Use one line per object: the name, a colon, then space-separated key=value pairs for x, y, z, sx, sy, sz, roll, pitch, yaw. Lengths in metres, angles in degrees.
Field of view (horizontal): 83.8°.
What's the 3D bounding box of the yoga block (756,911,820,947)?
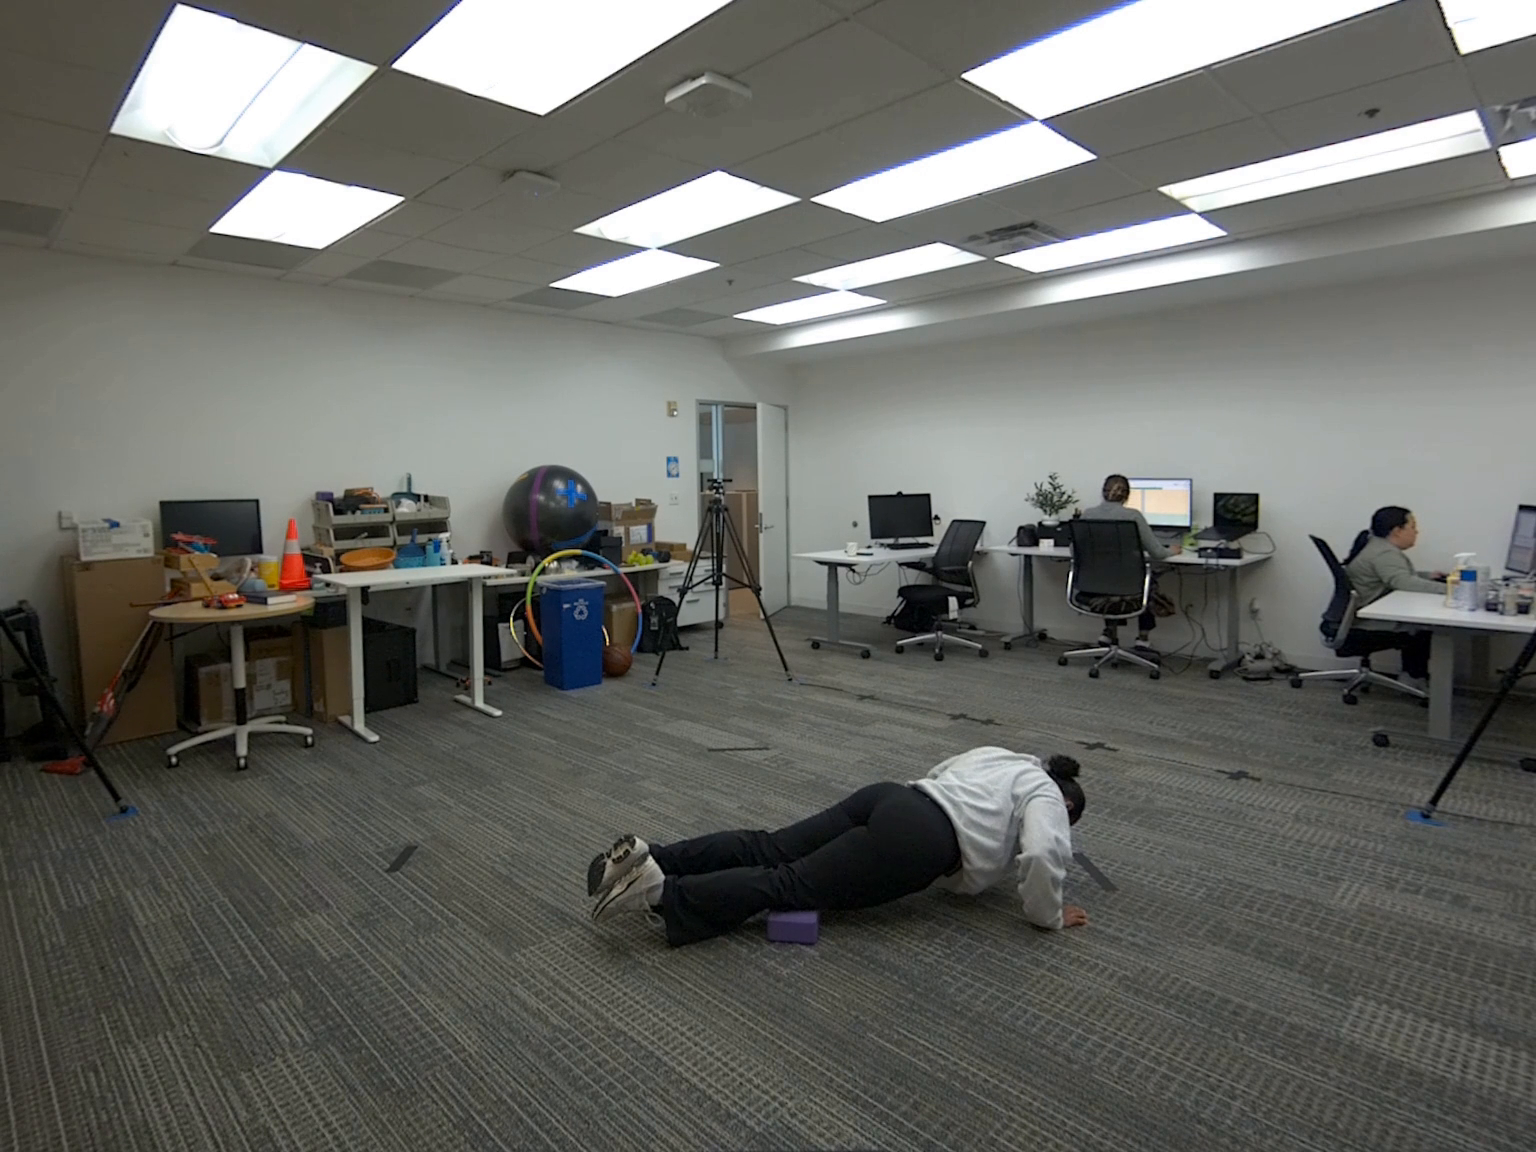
yoga block: x=0.079 y=1.053 z=2.678 sx=0.150 sy=0.076 sz=0.227 roll=-1 pitch=3 yaw=9
